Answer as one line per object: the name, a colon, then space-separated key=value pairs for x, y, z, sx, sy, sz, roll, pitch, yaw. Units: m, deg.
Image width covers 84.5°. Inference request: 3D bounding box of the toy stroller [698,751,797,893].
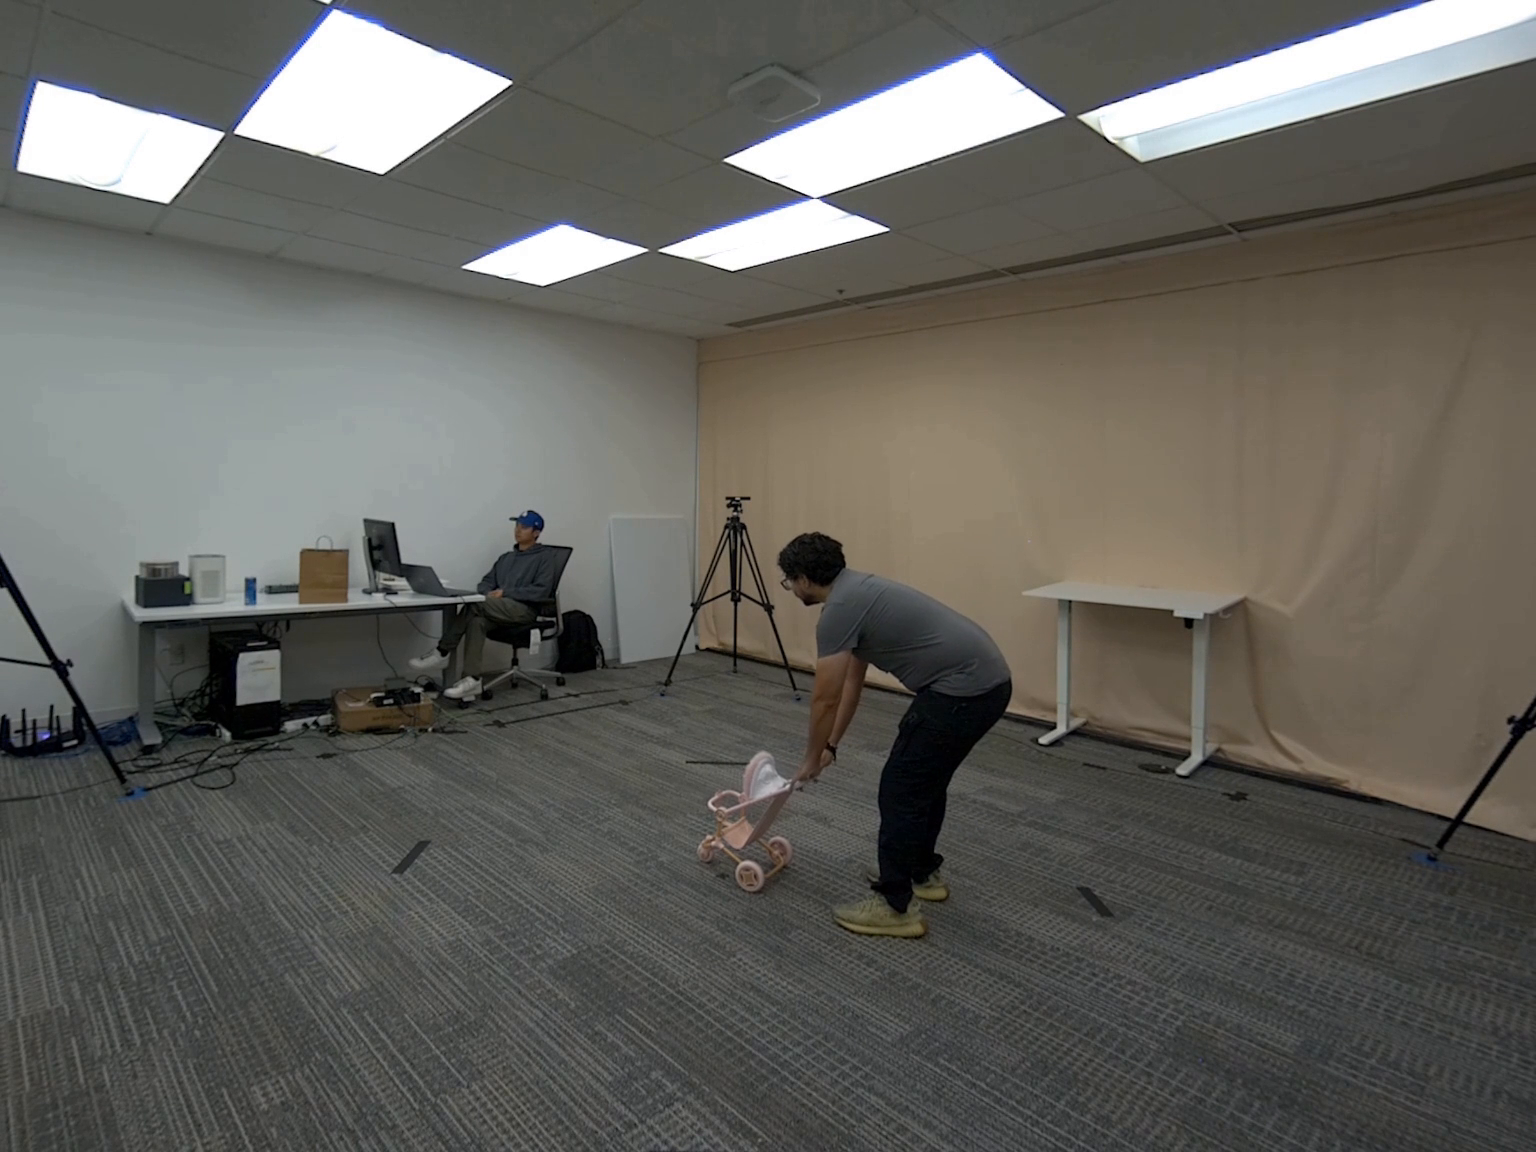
toy stroller: x=-0.064 y=0.885 z=3.119 sx=0.350 sy=0.532 sz=0.275 roll=23 pitch=13 yaw=30
